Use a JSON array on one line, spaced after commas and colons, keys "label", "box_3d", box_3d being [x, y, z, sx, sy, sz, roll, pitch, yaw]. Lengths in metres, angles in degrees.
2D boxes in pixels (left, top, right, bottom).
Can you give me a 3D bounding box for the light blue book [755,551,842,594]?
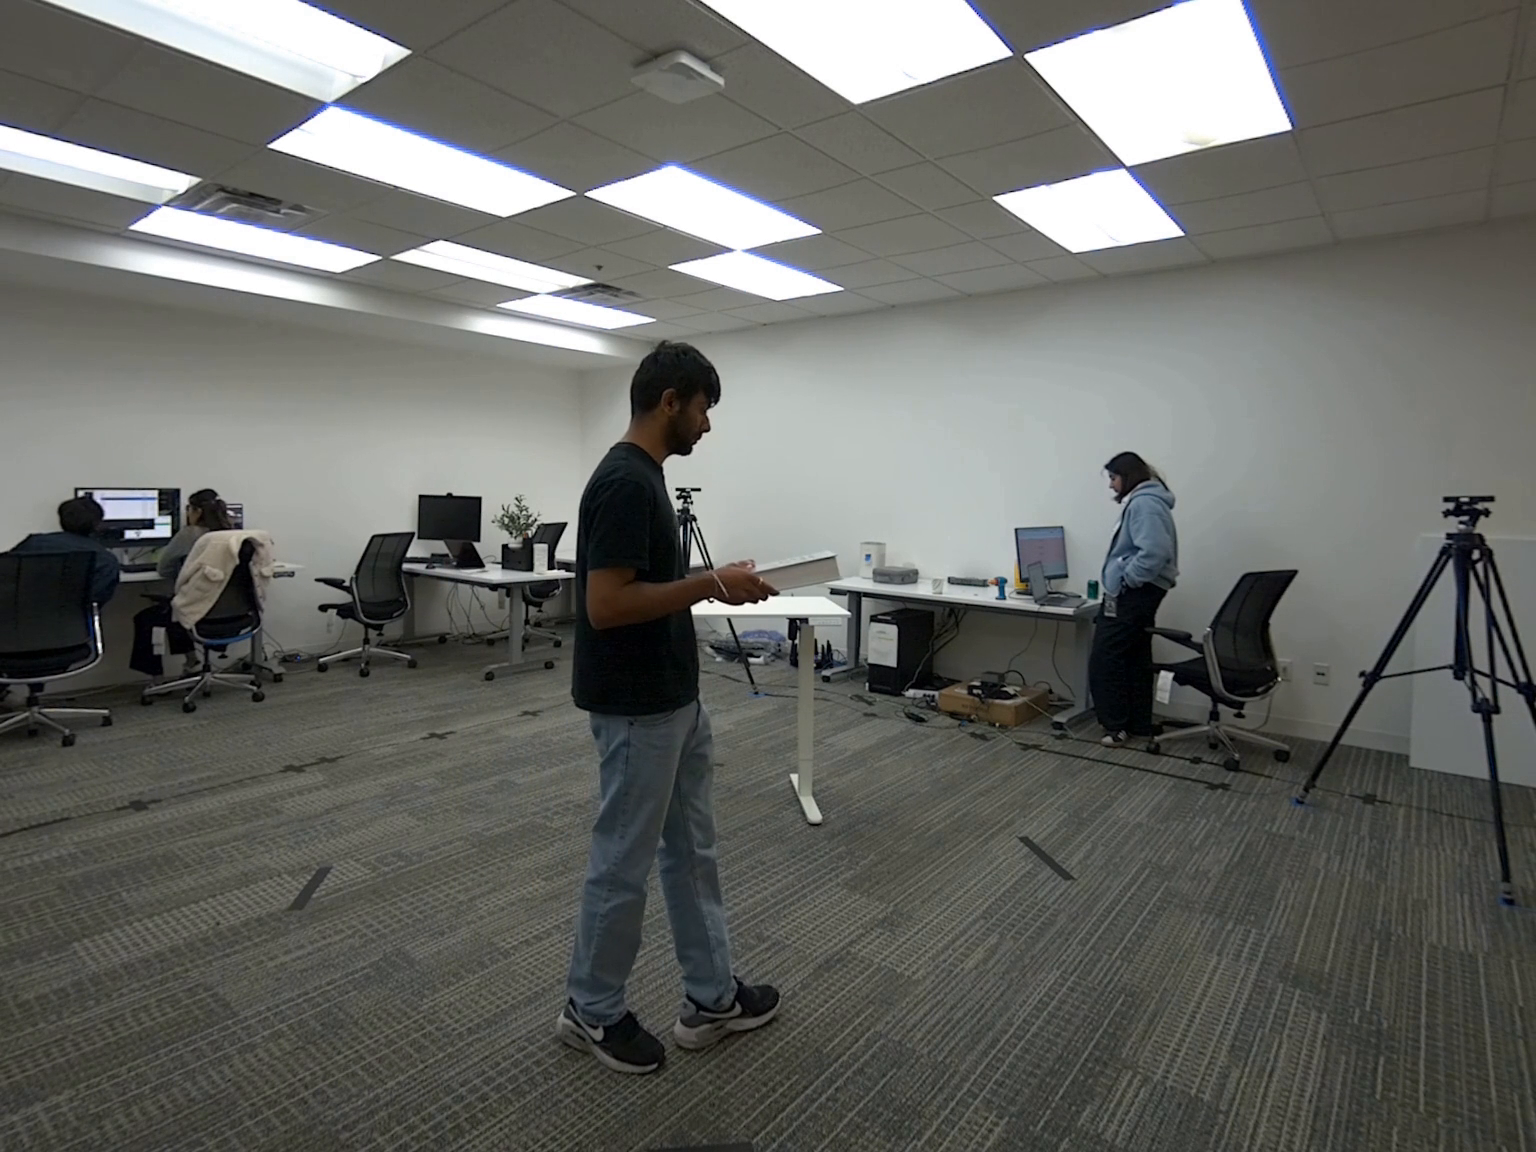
[{"label": "light blue book", "box_3d": [0.037, -0.005, 2.073, 0.261, 0.059, 0.192, -11, 6, 1]}]
